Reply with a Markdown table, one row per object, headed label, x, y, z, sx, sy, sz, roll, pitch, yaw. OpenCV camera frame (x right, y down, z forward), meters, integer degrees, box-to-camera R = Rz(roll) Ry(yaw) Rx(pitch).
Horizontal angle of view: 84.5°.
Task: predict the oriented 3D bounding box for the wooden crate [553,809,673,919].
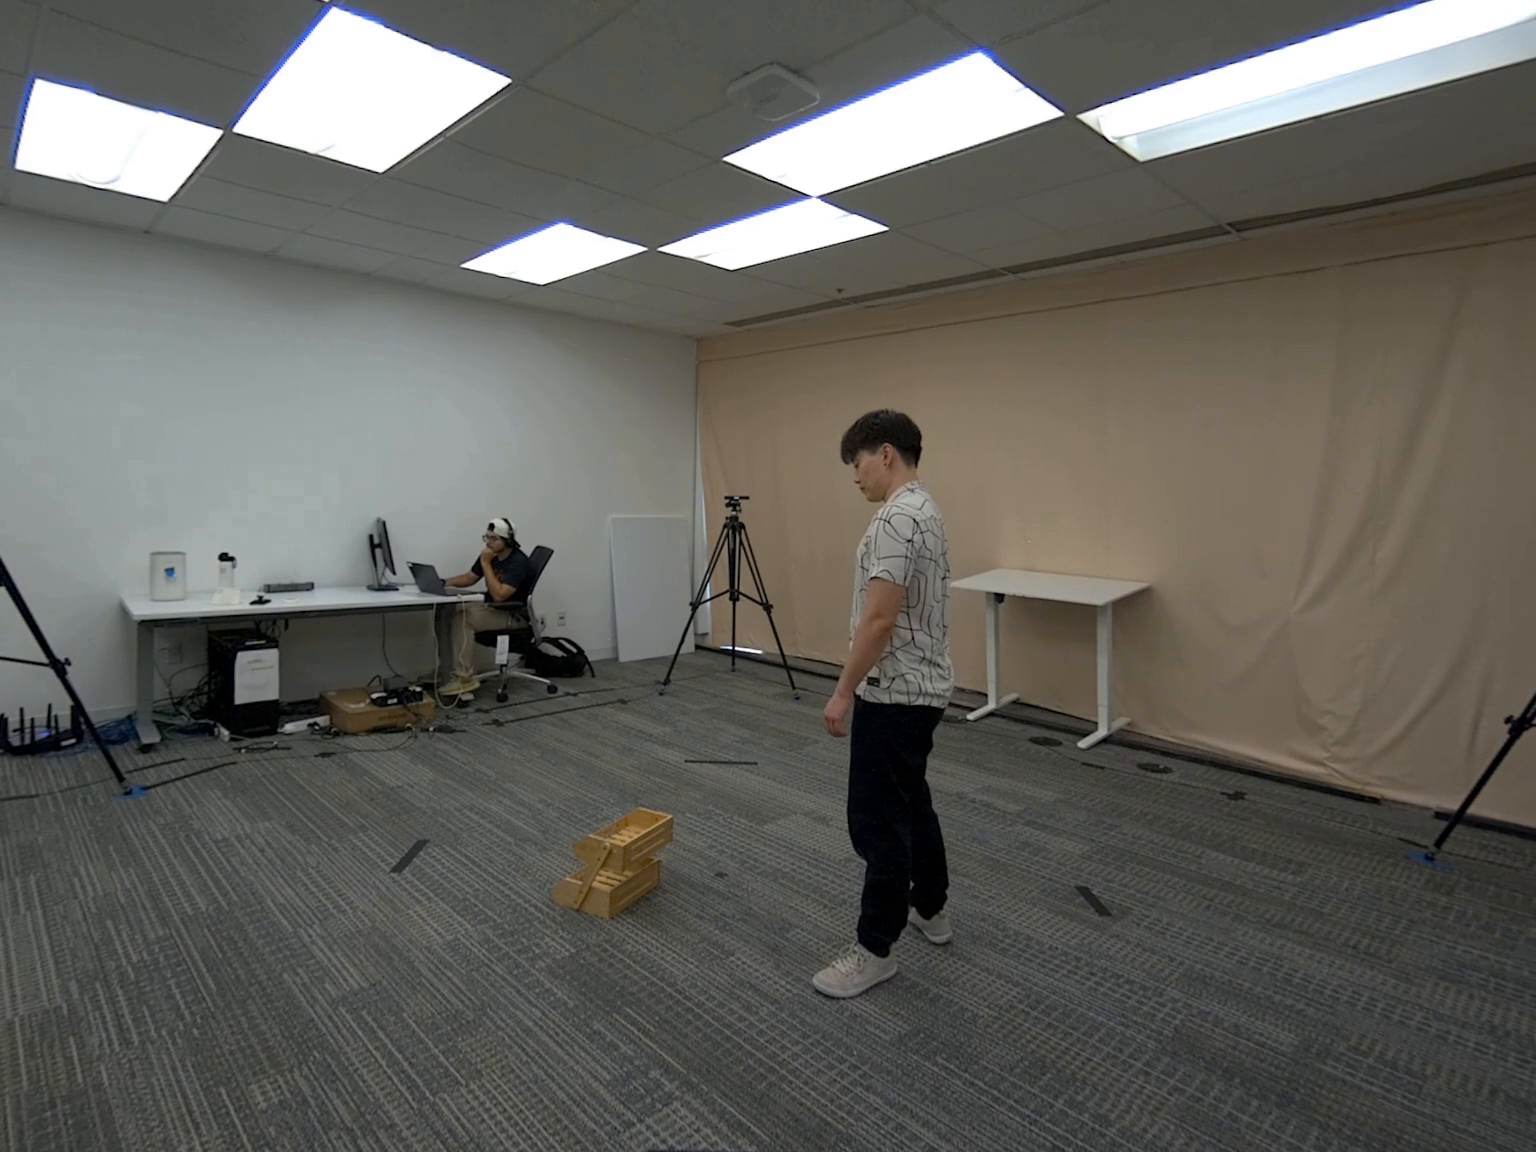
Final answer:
| label | x | y | z | sx | sy | sz | roll | pitch | yaw |
| --- | --- | --- | --- | --- | --- | --- | --- | --- | --- |
| wooden crate | -0.552 | 0.981 | 2.930 | 0.308 | 0.272 | 0.319 | 3 | 5 | 27 |
